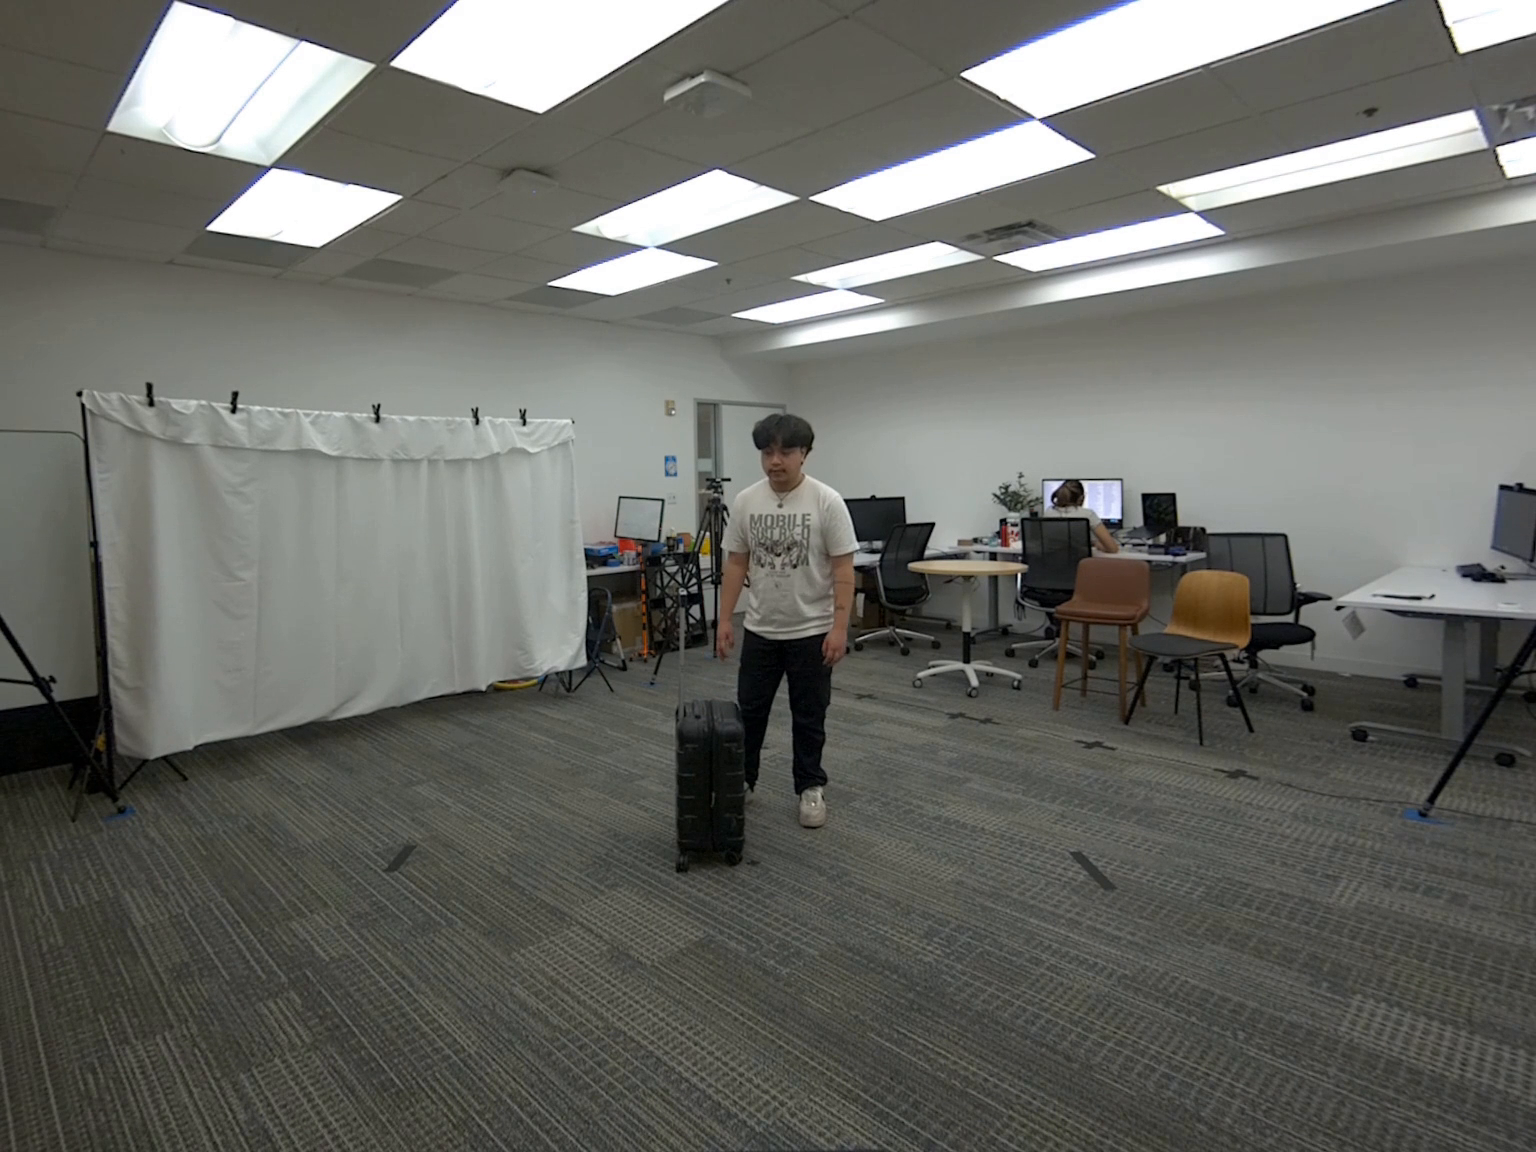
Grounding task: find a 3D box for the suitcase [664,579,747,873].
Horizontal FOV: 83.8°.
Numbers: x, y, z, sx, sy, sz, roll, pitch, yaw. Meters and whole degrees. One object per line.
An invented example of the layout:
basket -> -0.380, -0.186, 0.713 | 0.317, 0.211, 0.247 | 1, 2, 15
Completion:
suitcase -> -0.219, 0.558, 3.200 | 0.256, 0.975, 0.387 | 2, 4, -6
